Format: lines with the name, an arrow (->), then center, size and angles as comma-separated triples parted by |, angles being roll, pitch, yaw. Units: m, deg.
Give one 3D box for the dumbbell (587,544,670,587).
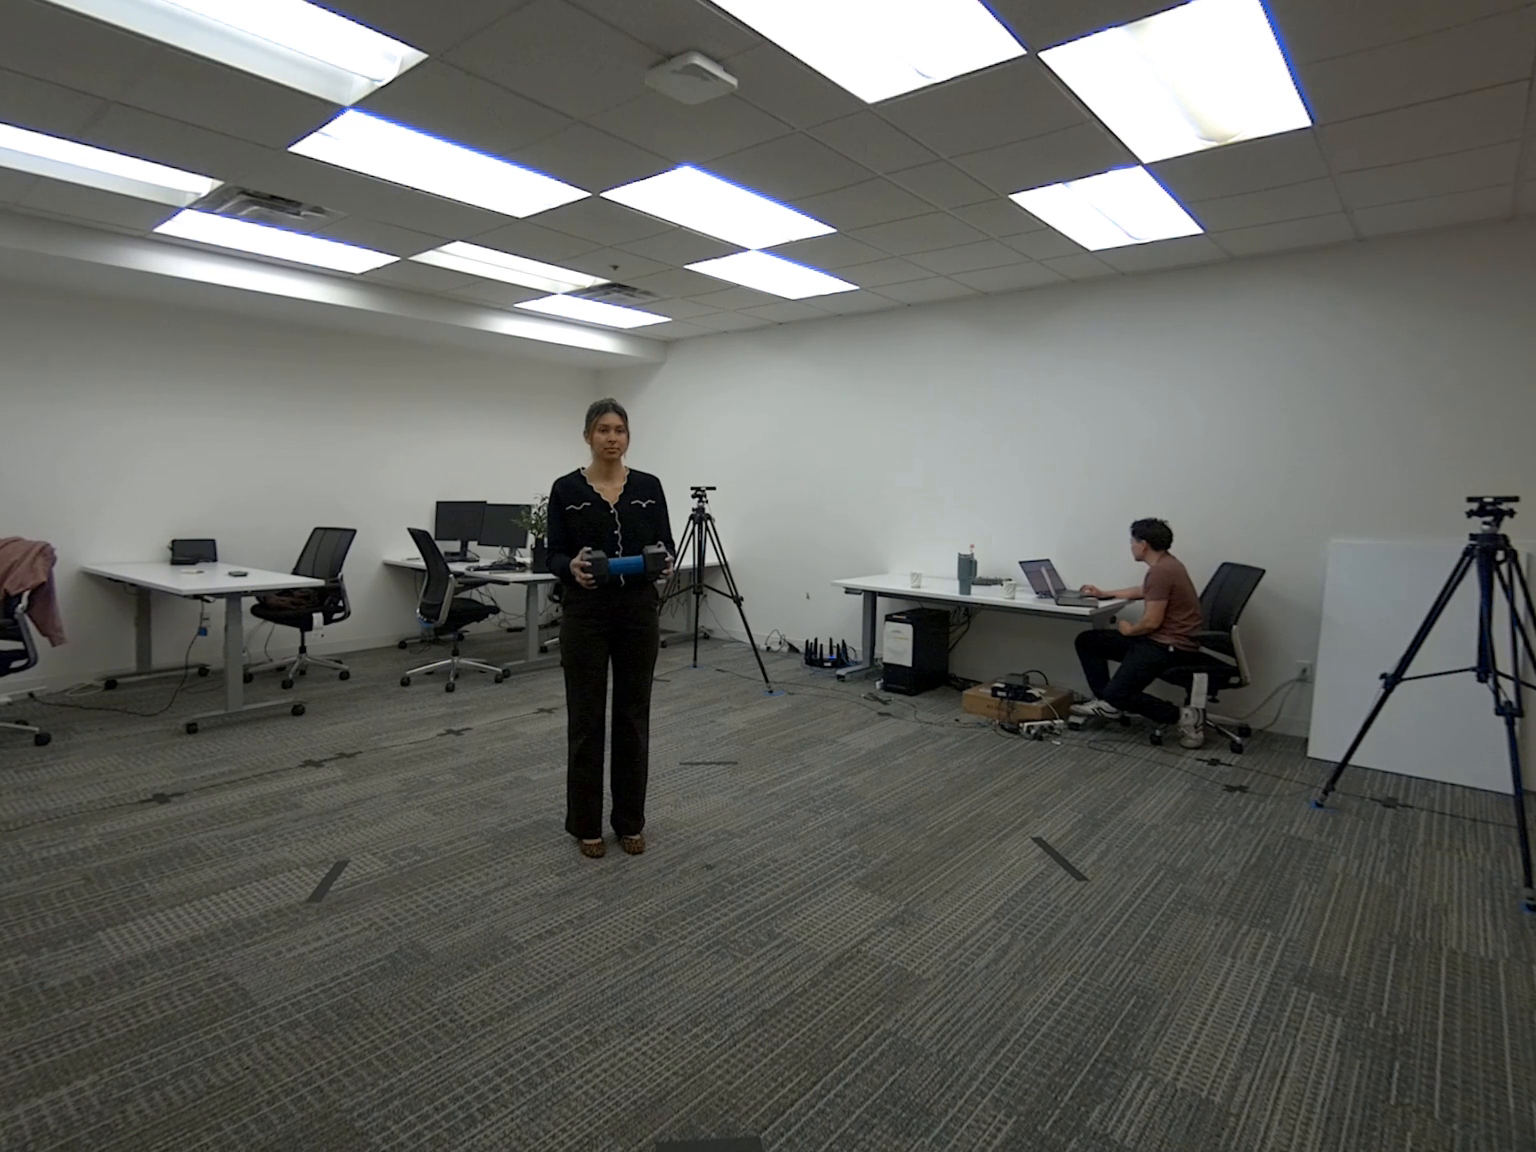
dumbbell -> -0.509, -0.046, 2.974 | 0.291, 0.106, 0.127 | -3, 28, -8
